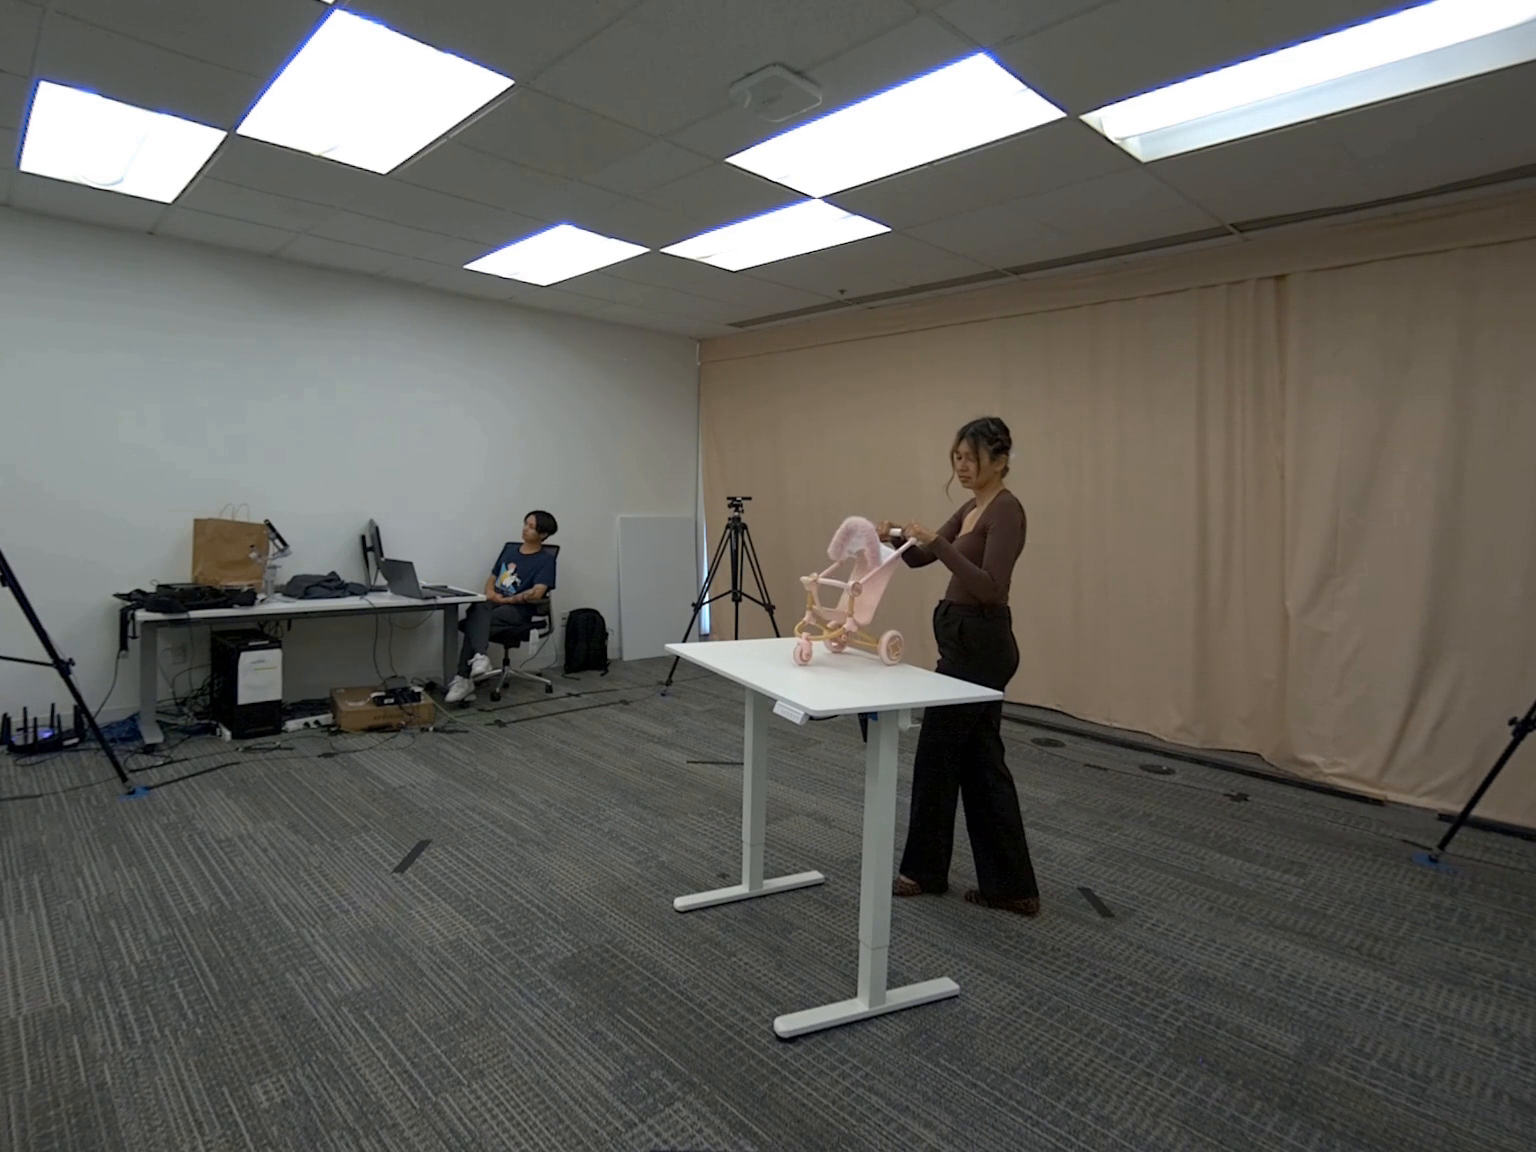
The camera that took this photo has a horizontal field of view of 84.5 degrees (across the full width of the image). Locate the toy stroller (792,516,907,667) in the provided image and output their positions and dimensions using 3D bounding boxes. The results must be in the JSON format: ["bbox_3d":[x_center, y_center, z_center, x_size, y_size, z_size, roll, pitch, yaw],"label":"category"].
[{"bbox_3d":[0.256,0.049,2.698,0.332,0.537,0.288,19,-9,-33],"label":"toy stroller"}]
